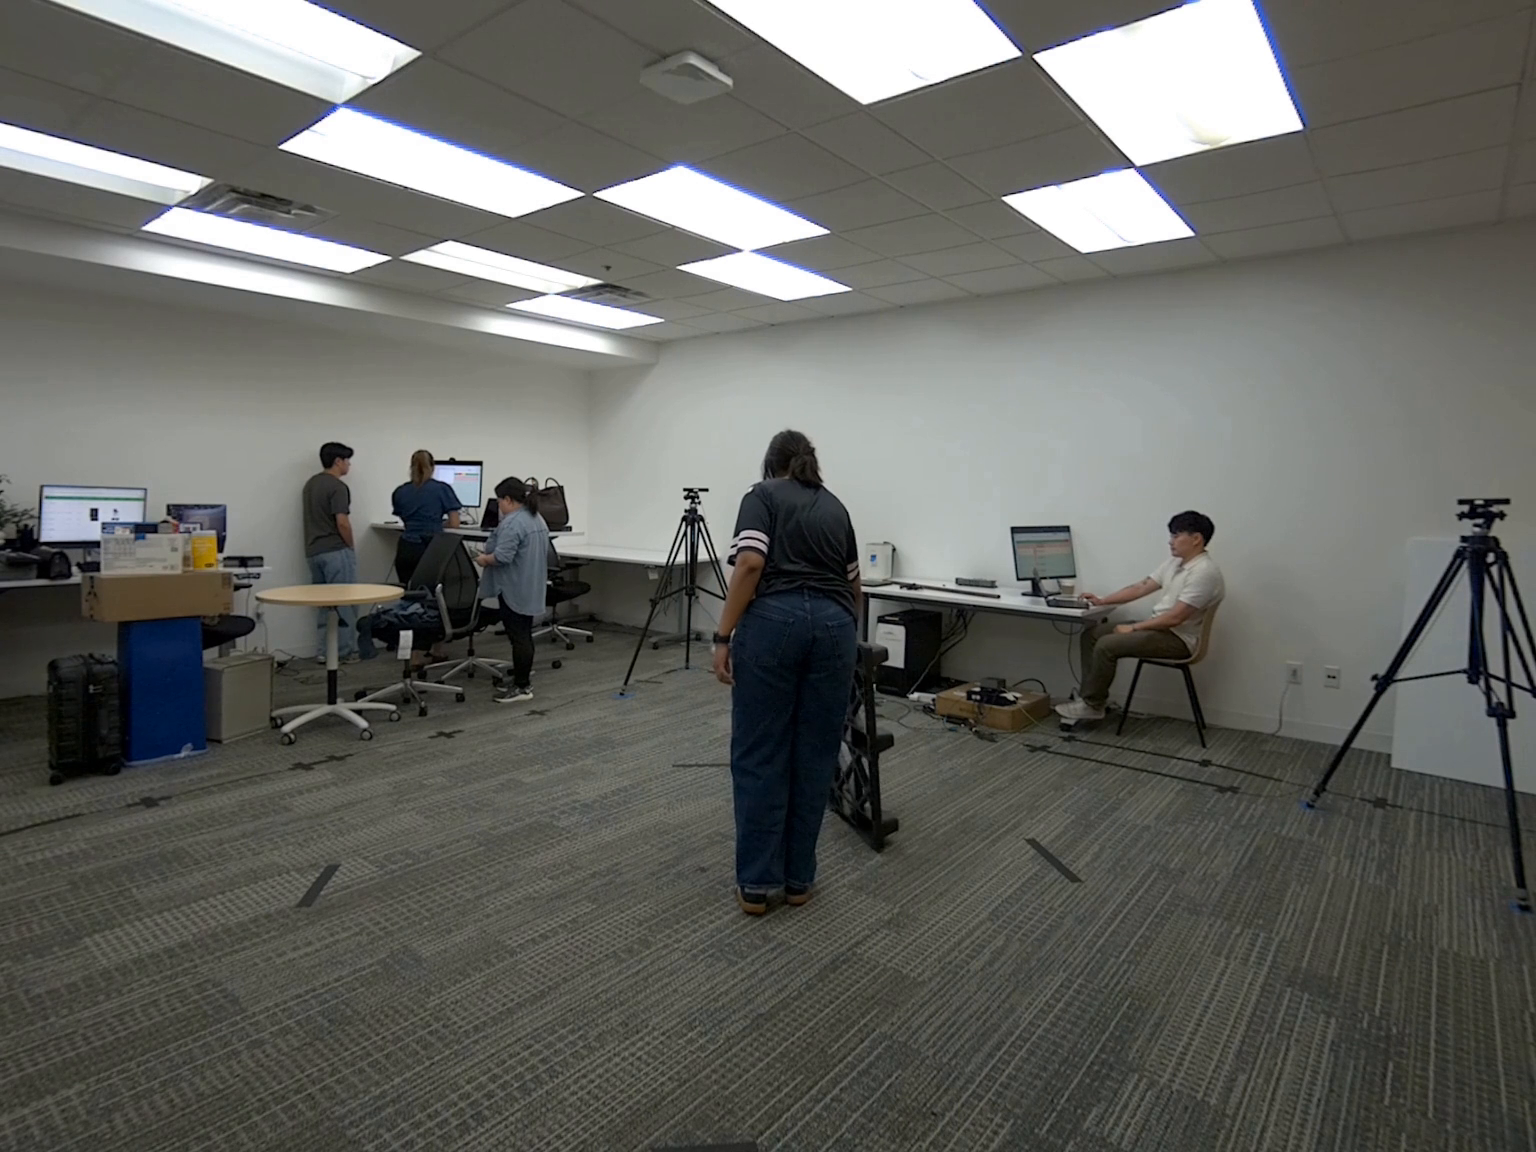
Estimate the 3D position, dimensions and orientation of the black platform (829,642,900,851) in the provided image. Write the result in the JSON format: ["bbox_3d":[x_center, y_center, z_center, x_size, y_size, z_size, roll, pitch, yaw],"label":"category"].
[{"bbox_3d":[0.348,0.626,3.545,0.141,0.802,0.617,-5,5,-17],"label":"black platform"}]
